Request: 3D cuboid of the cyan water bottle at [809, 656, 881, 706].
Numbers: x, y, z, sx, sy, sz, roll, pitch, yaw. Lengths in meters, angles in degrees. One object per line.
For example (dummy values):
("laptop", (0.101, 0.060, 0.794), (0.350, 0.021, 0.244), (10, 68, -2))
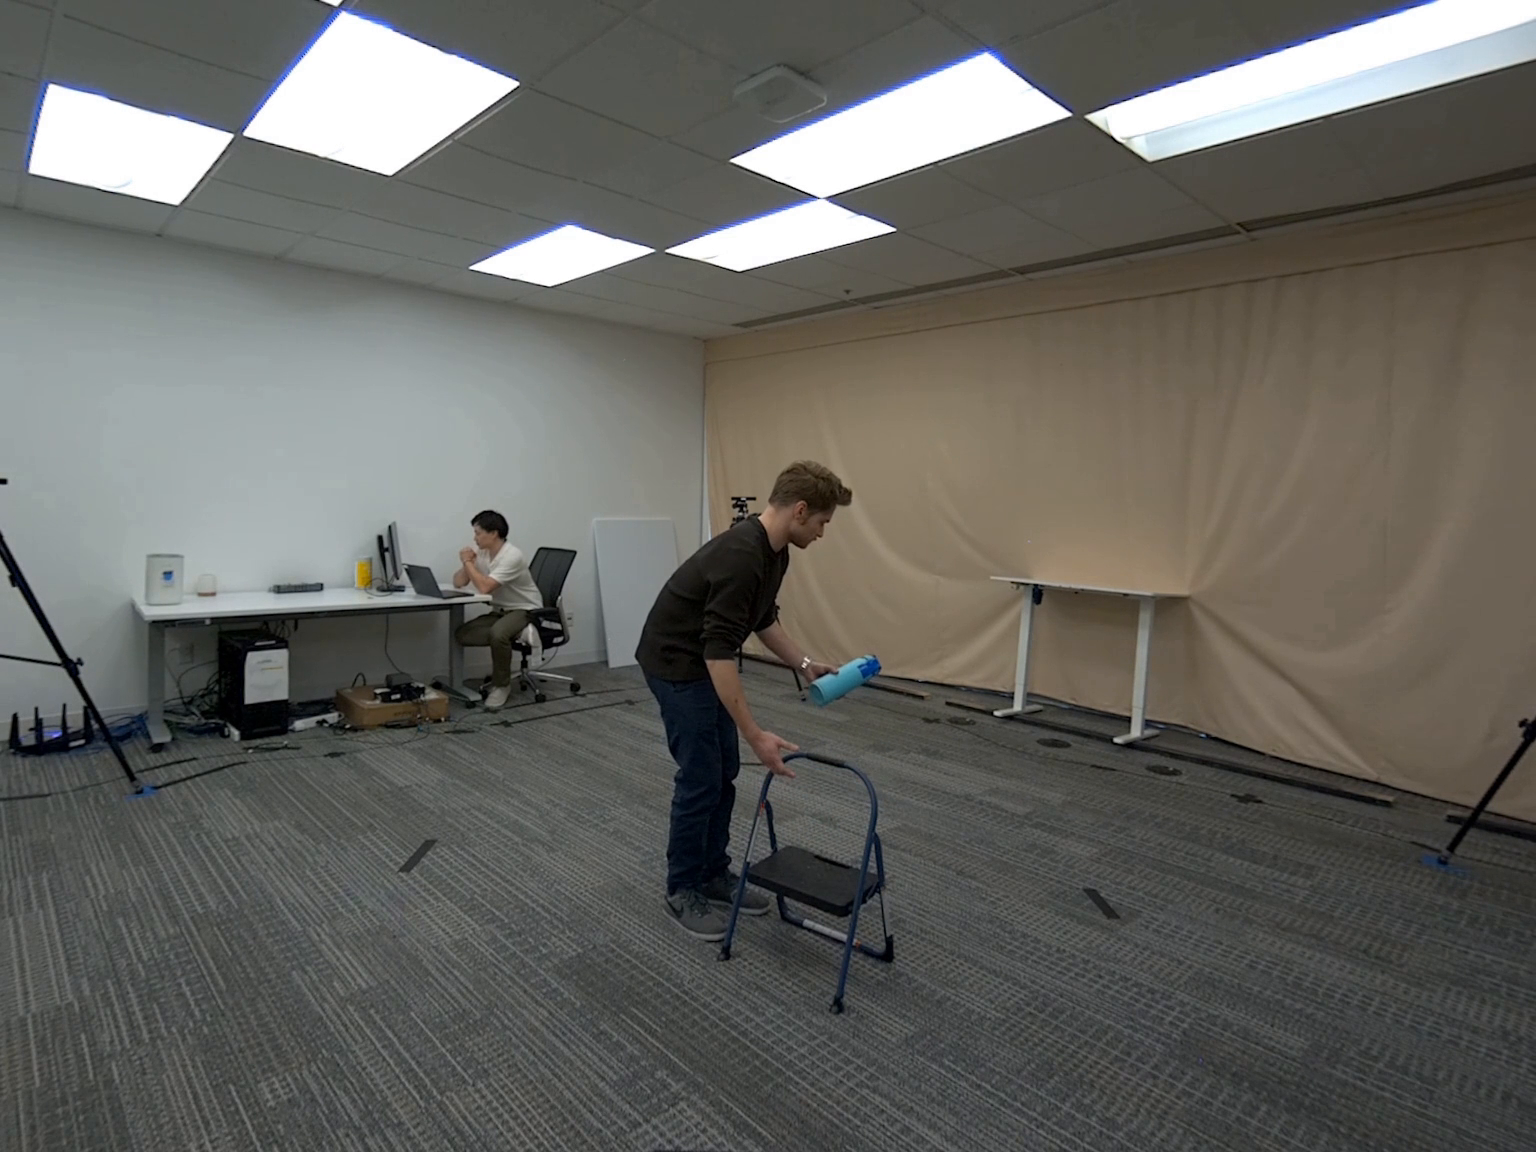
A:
("cyan water bottle", (0.274, 0.363, 2.966), (0.280, 0.091, 0.094), (-25, 17, -28))
